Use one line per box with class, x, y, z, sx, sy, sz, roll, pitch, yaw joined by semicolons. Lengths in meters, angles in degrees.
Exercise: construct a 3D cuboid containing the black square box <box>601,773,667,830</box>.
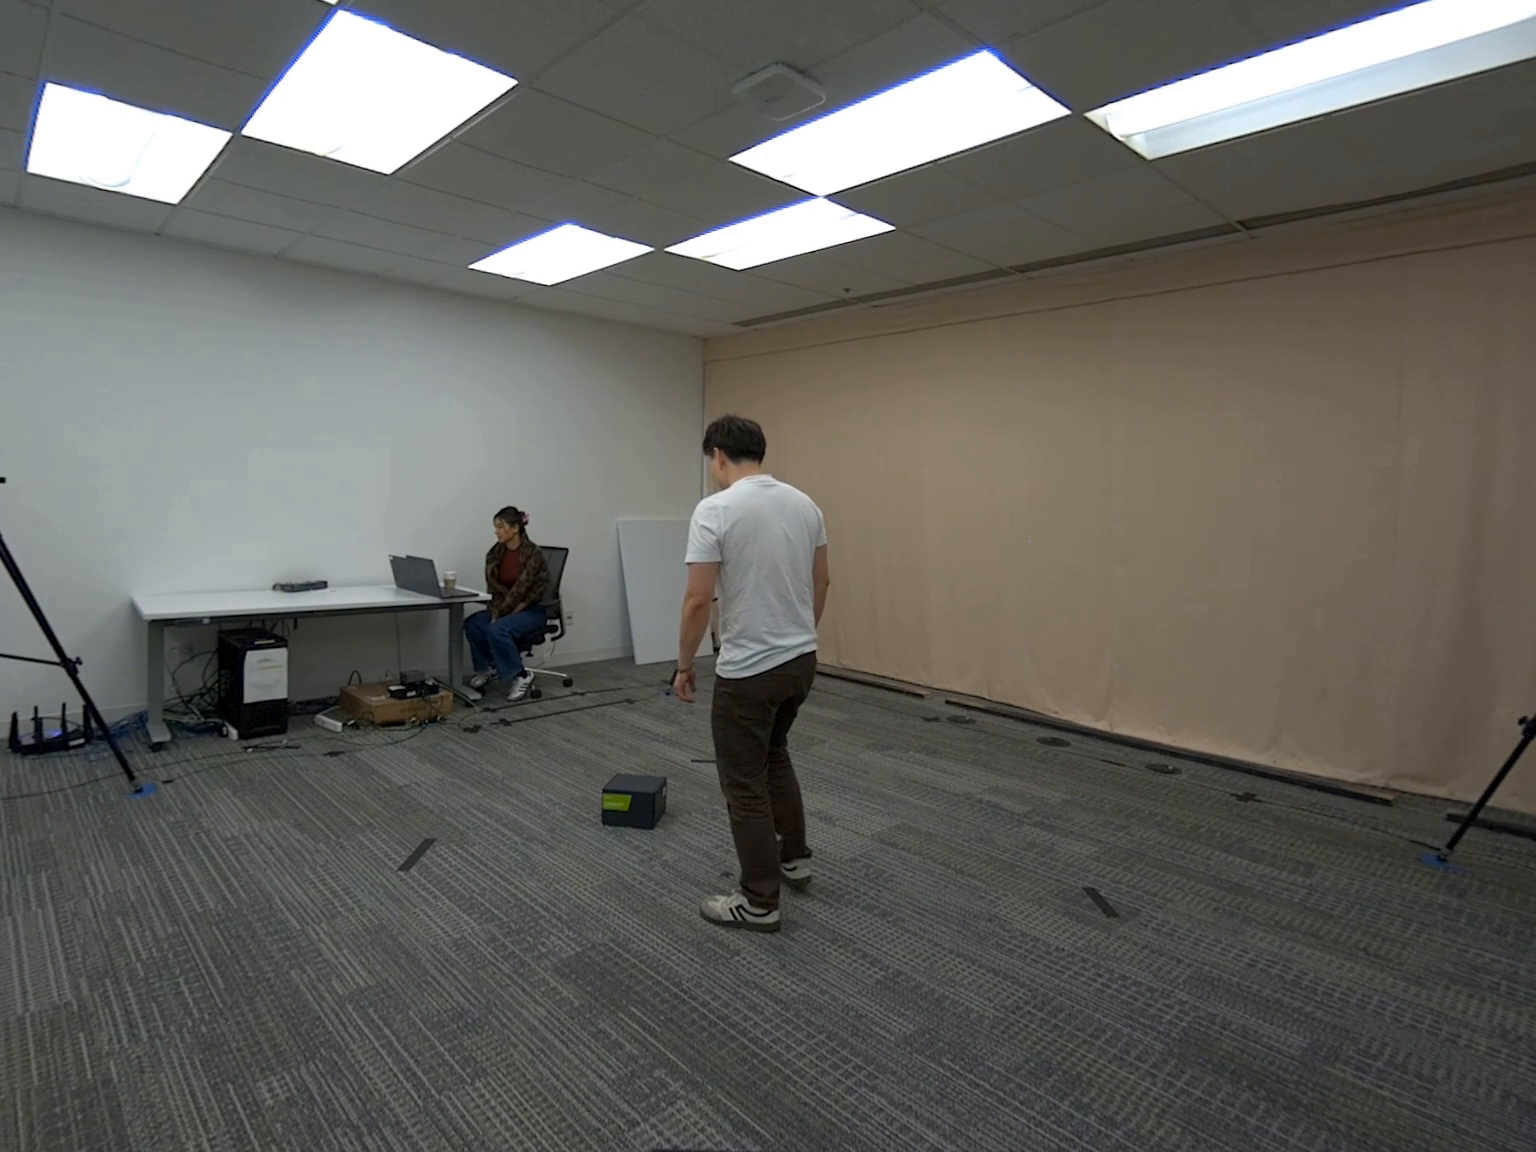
black square box;-0.582;0.960;3.623;0.229;0.155;0.216;3;5;8
